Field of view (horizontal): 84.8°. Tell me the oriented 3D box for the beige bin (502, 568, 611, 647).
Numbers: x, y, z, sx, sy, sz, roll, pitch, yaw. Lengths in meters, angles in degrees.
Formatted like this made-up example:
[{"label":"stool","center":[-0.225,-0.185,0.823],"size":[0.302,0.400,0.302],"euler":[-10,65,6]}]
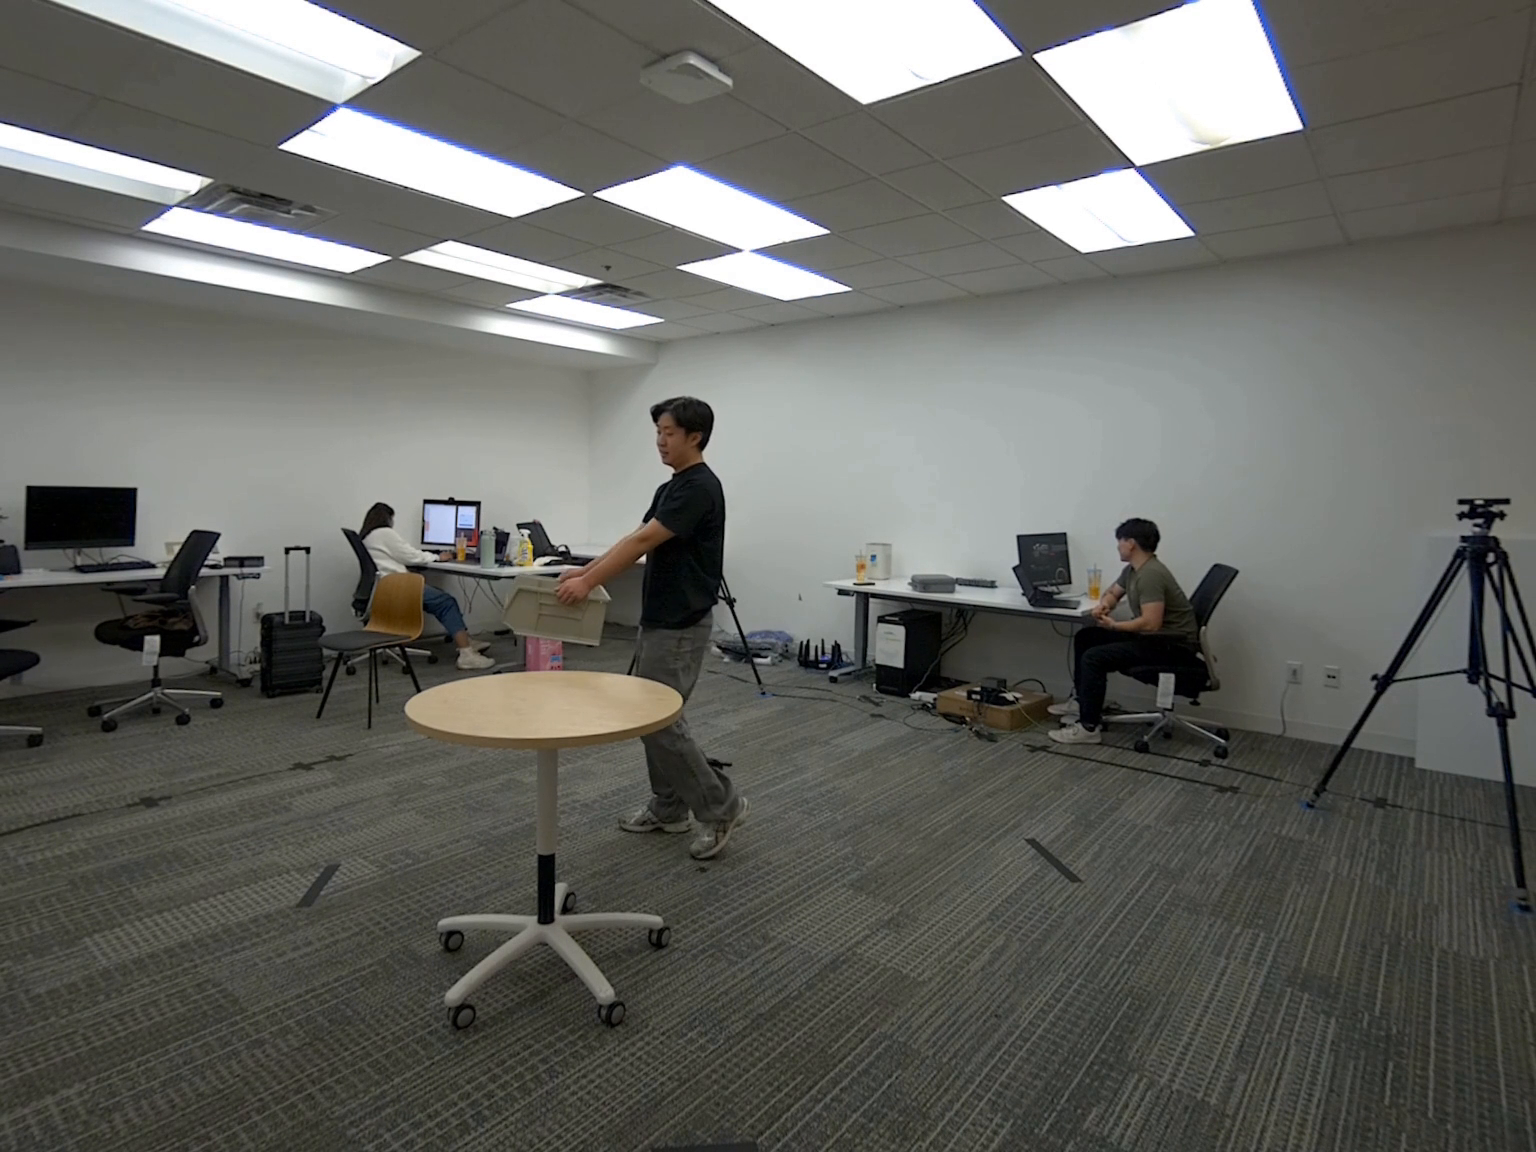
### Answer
[{"label":"beige bin","center":[-0.839,0.126,3.295],"size":[0.371,0.189,0.430],"euler":[10,1,-16]}]
